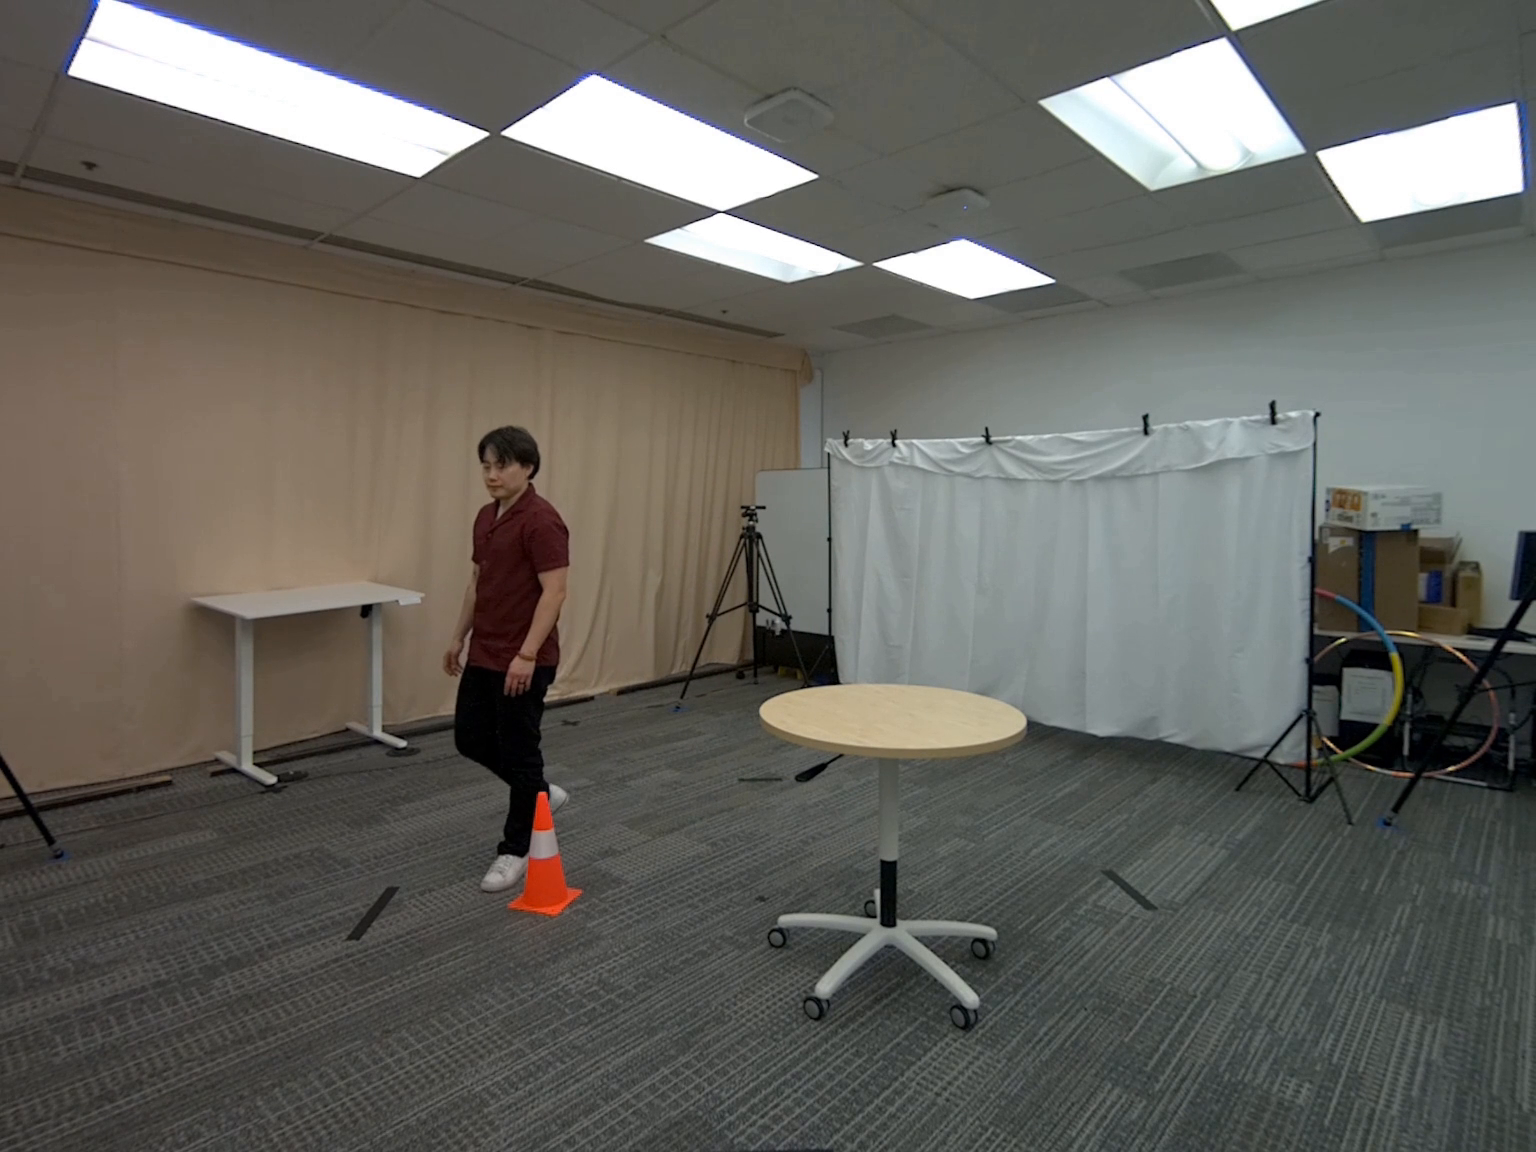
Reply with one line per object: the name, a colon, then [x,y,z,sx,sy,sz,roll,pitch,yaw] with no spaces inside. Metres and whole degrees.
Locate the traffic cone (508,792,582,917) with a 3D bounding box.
traffic cone: [-0.802,0.965,2.984,0.207,0.383,0.201,-1,2,19]
